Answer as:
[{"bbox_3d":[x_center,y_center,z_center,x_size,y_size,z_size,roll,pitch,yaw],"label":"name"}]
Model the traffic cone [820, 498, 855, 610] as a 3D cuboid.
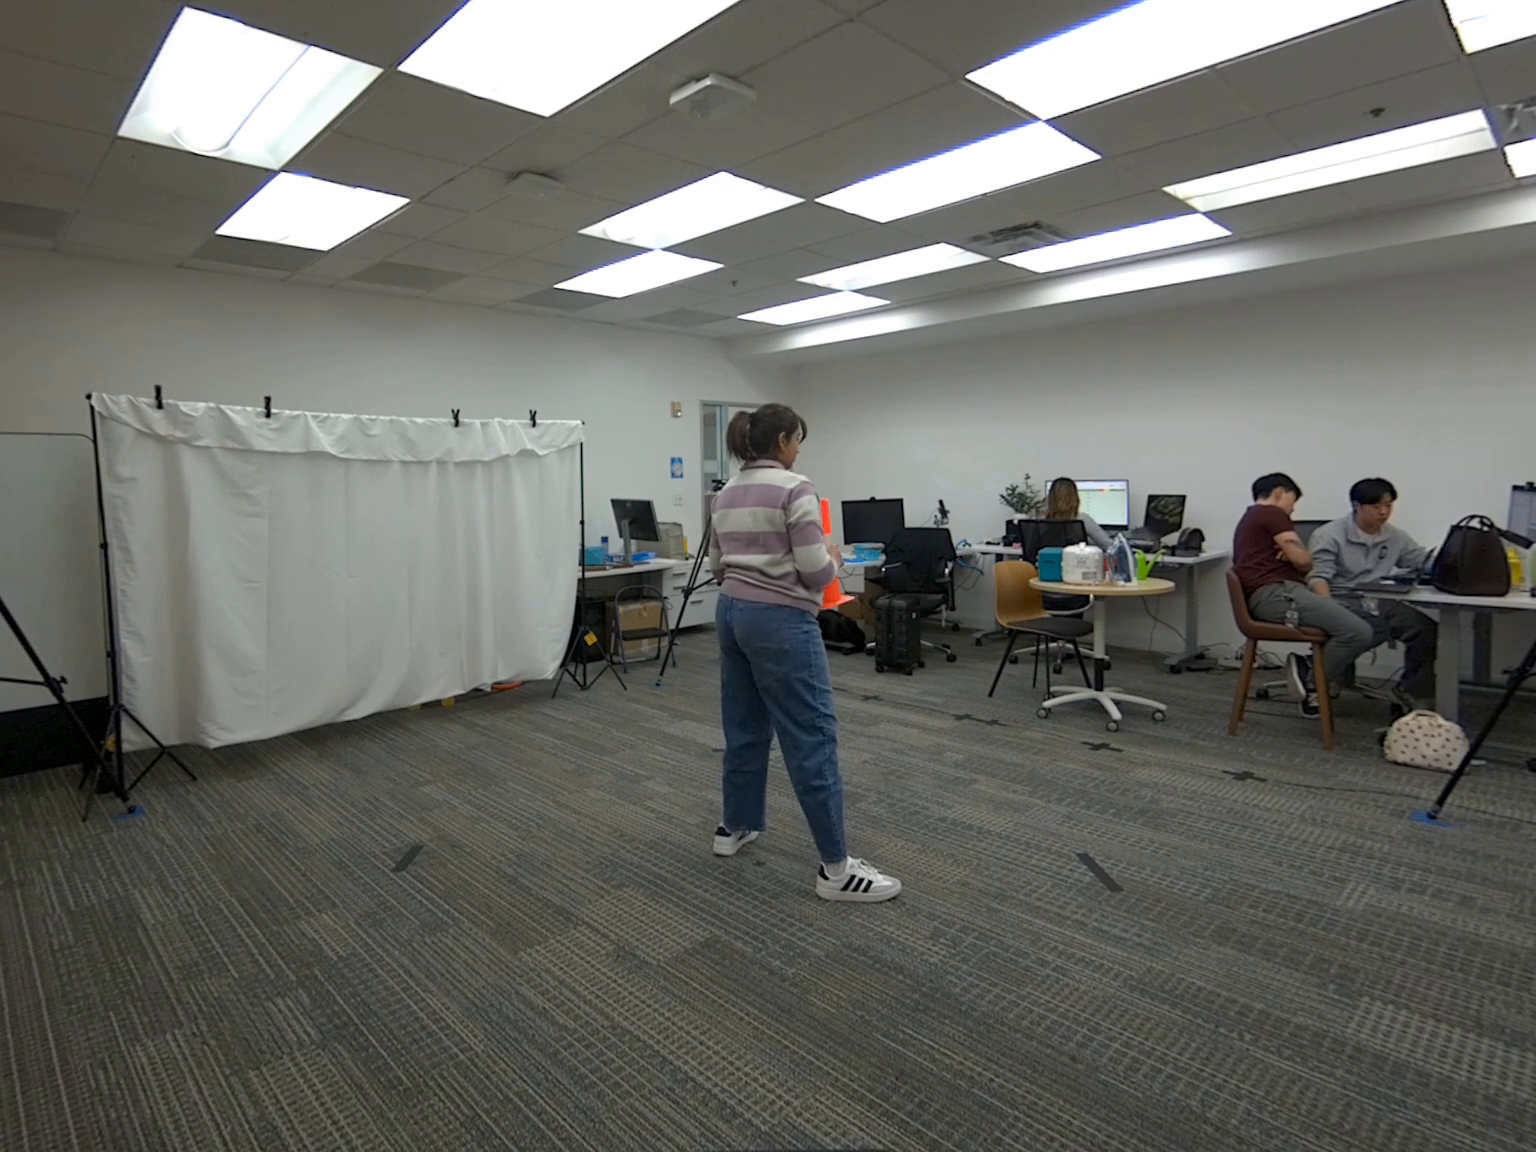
[{"bbox_3d":[0.211,-0.095,3.194,0.211,0.380,0.198,8,12,41],"label":"traffic cone"}]
